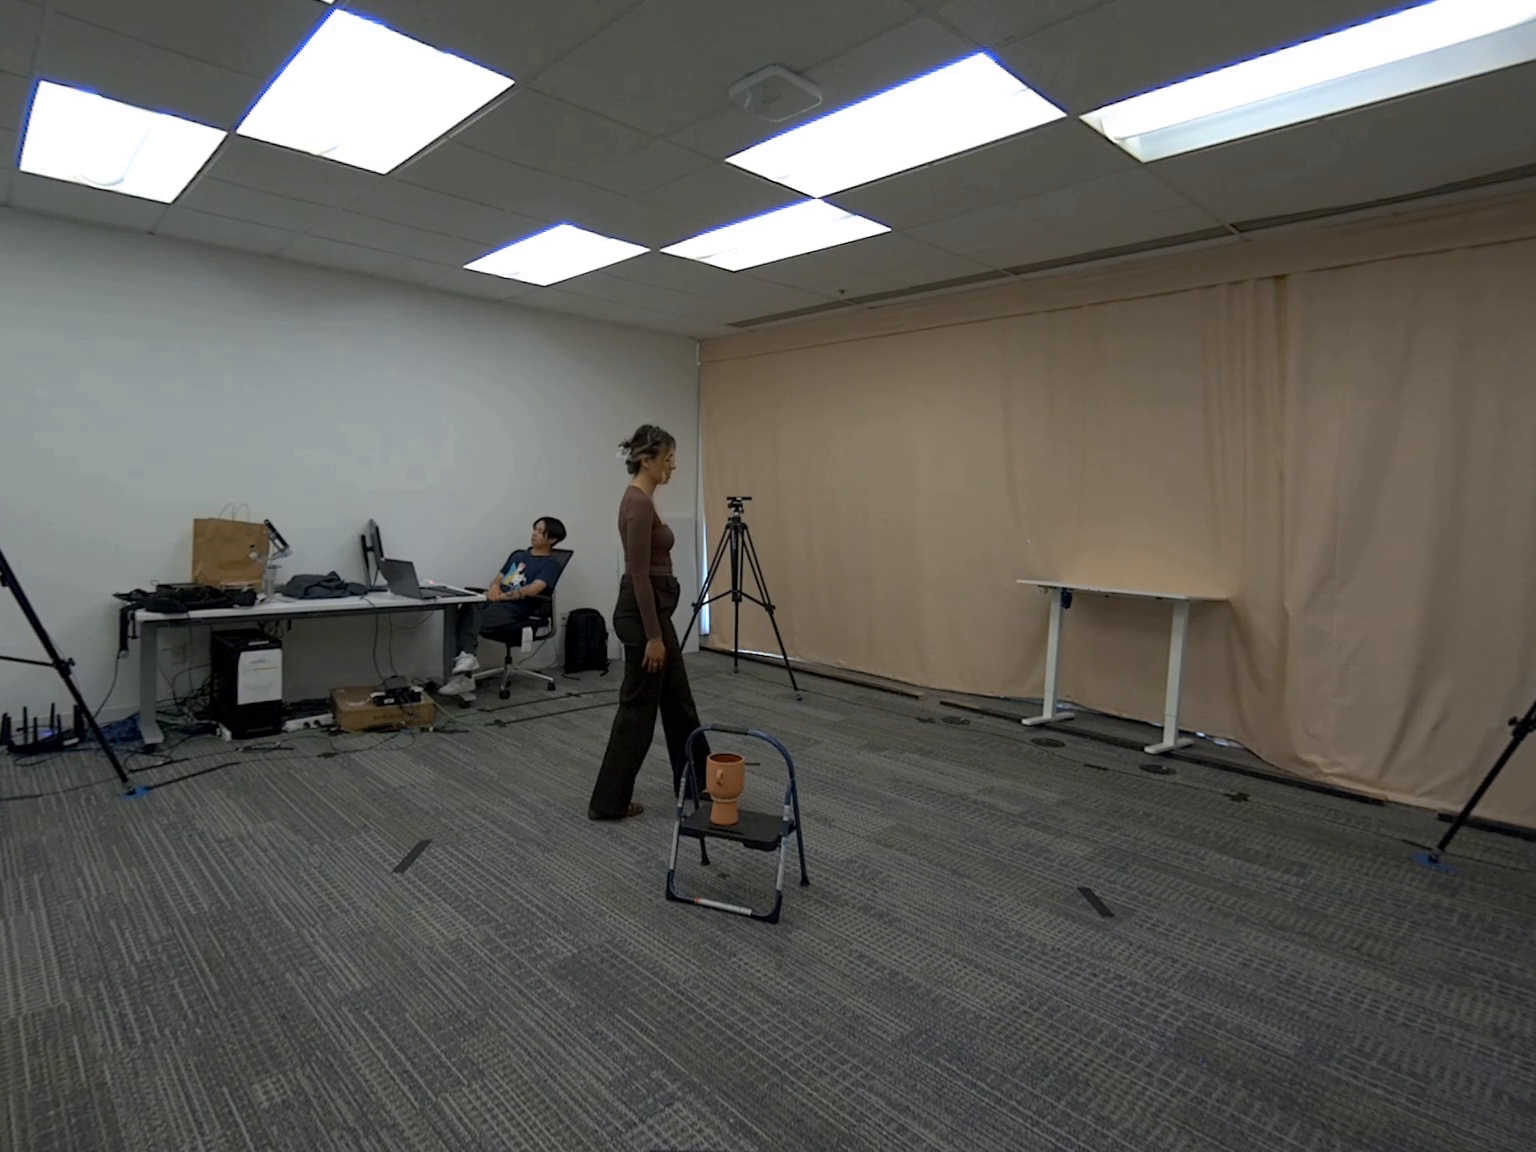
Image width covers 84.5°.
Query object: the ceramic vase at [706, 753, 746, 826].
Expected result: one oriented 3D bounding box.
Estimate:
[{"bbox_3d":[-0.155,0.750,2.948,0.155,0.219,0.138,-1,4,-37],"label":"ceramic vase"}]
